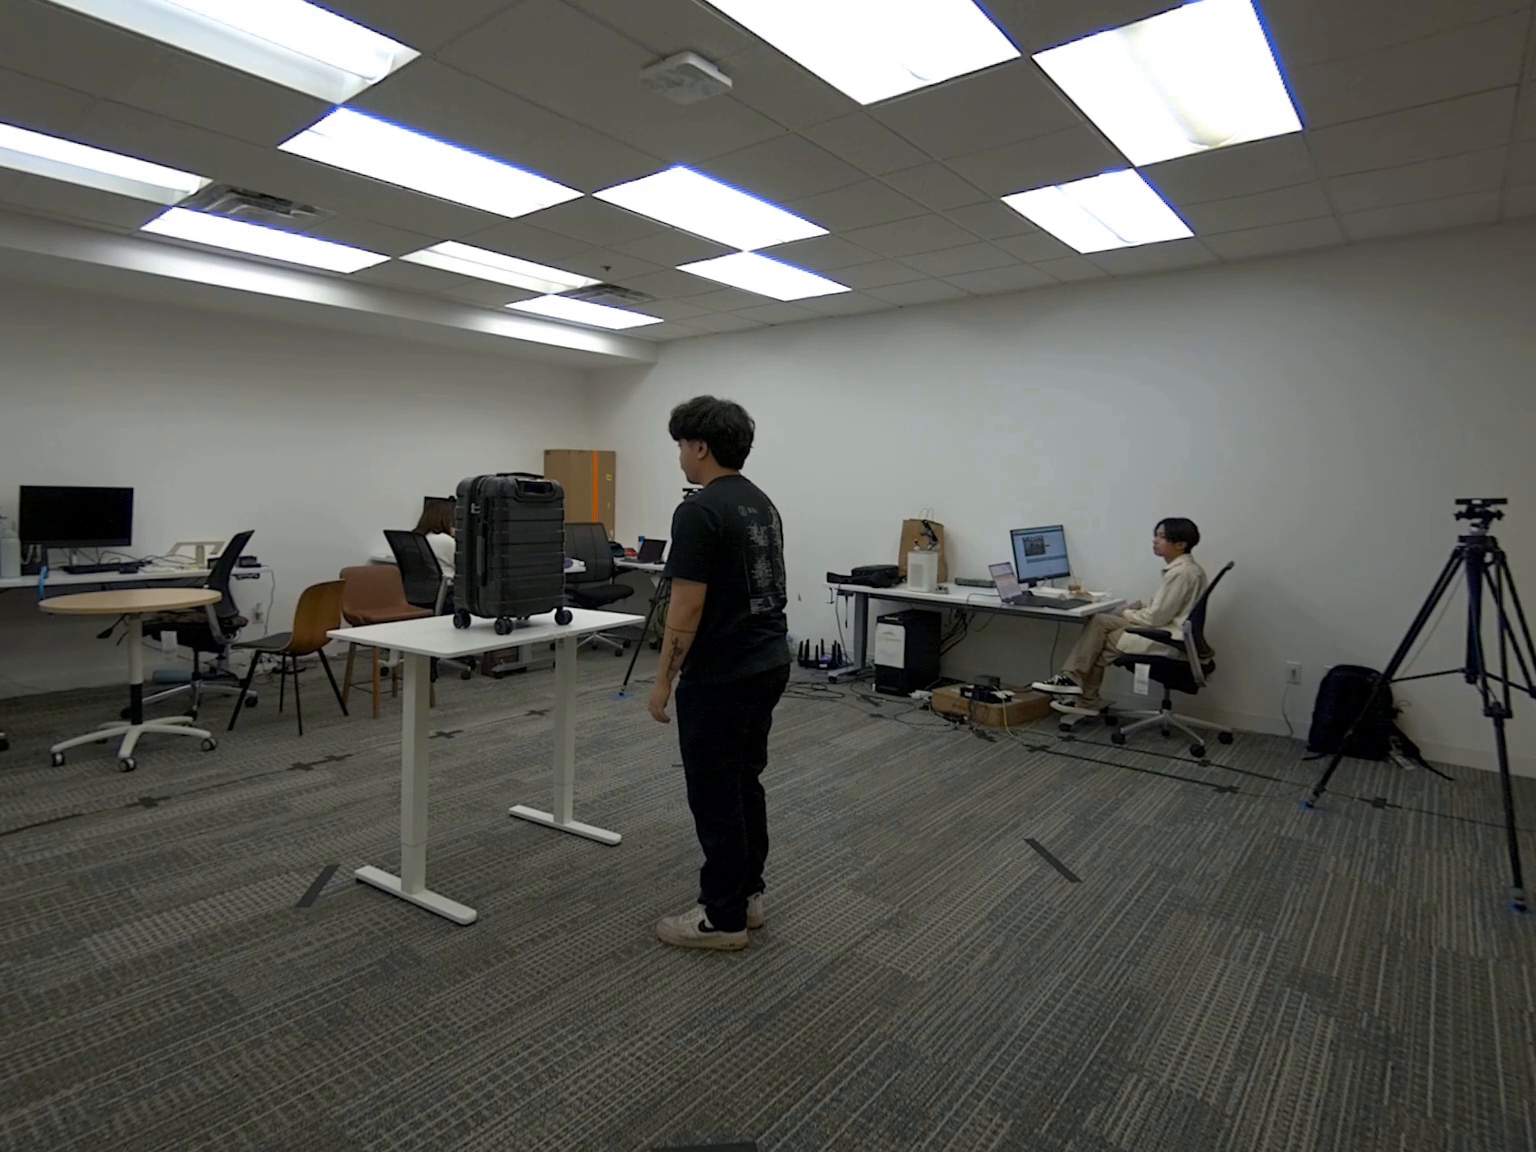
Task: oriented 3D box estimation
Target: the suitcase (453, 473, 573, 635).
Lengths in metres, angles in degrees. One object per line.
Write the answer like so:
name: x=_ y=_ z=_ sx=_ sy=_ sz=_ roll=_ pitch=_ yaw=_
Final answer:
suitcase: x=-0.941 y=-0.098 z=3.073 sx=0.256 sy=0.548 sz=0.365 roll=2 pitch=3 yaw=31
